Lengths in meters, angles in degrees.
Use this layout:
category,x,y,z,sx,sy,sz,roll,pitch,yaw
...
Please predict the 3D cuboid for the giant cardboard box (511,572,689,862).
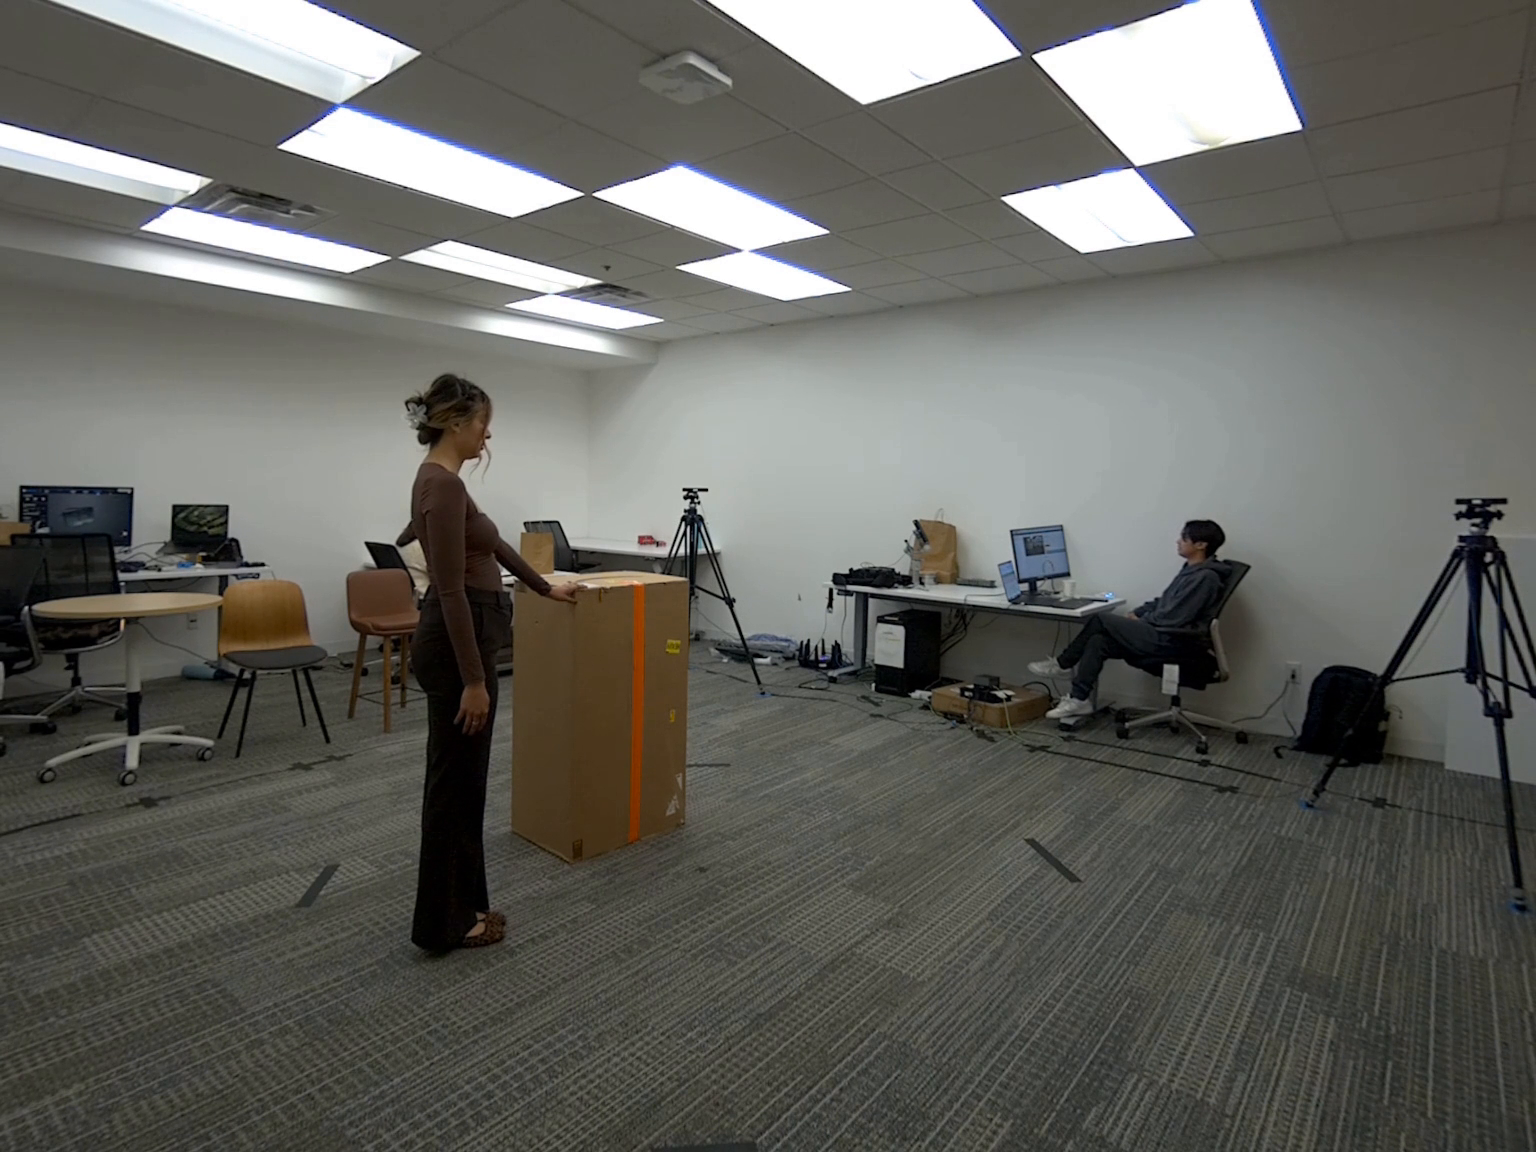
category,x,y,z,sx,sy,sz,roll,pitch,yaw
giant cardboard box,-0.688,0.519,3.455,0.462,1.024,0.566,5,5,45
